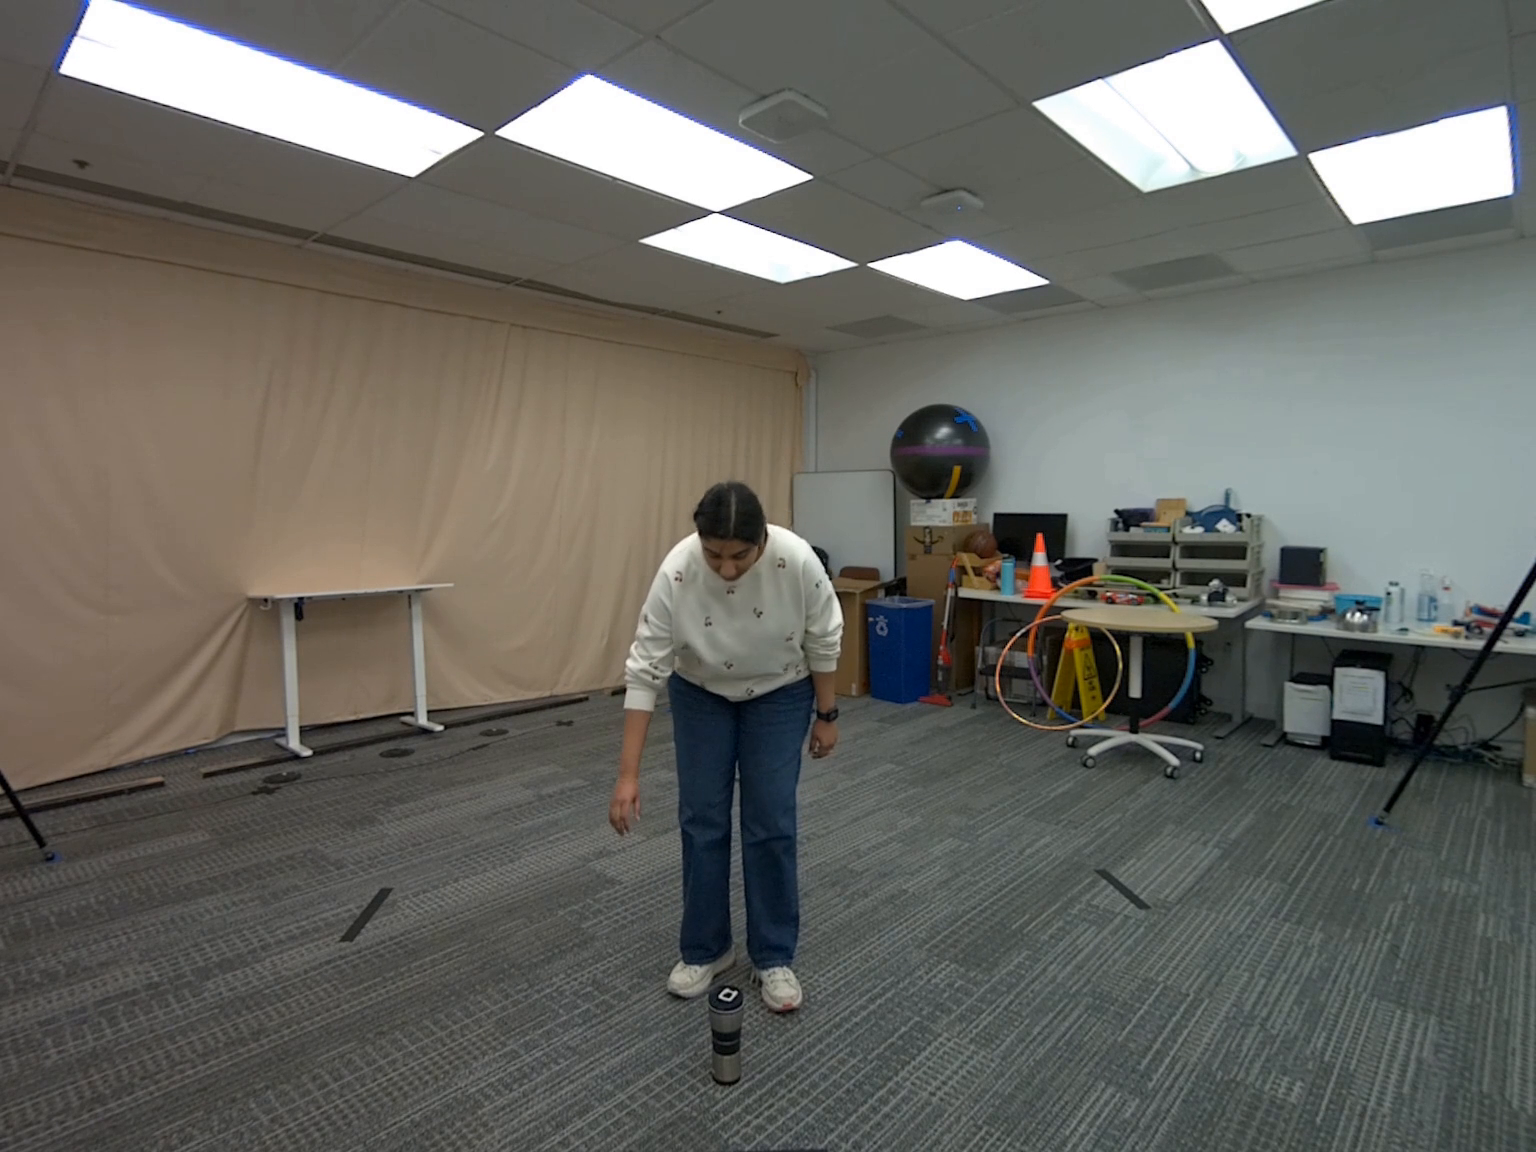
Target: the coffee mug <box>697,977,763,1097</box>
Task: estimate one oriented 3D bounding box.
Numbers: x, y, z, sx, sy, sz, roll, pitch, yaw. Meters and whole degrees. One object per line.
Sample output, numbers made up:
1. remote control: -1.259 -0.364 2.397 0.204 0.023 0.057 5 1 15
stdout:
1. coffee mug: -0.092 1.117 2.064 0.090 0.202 0.118 -2 4 37
